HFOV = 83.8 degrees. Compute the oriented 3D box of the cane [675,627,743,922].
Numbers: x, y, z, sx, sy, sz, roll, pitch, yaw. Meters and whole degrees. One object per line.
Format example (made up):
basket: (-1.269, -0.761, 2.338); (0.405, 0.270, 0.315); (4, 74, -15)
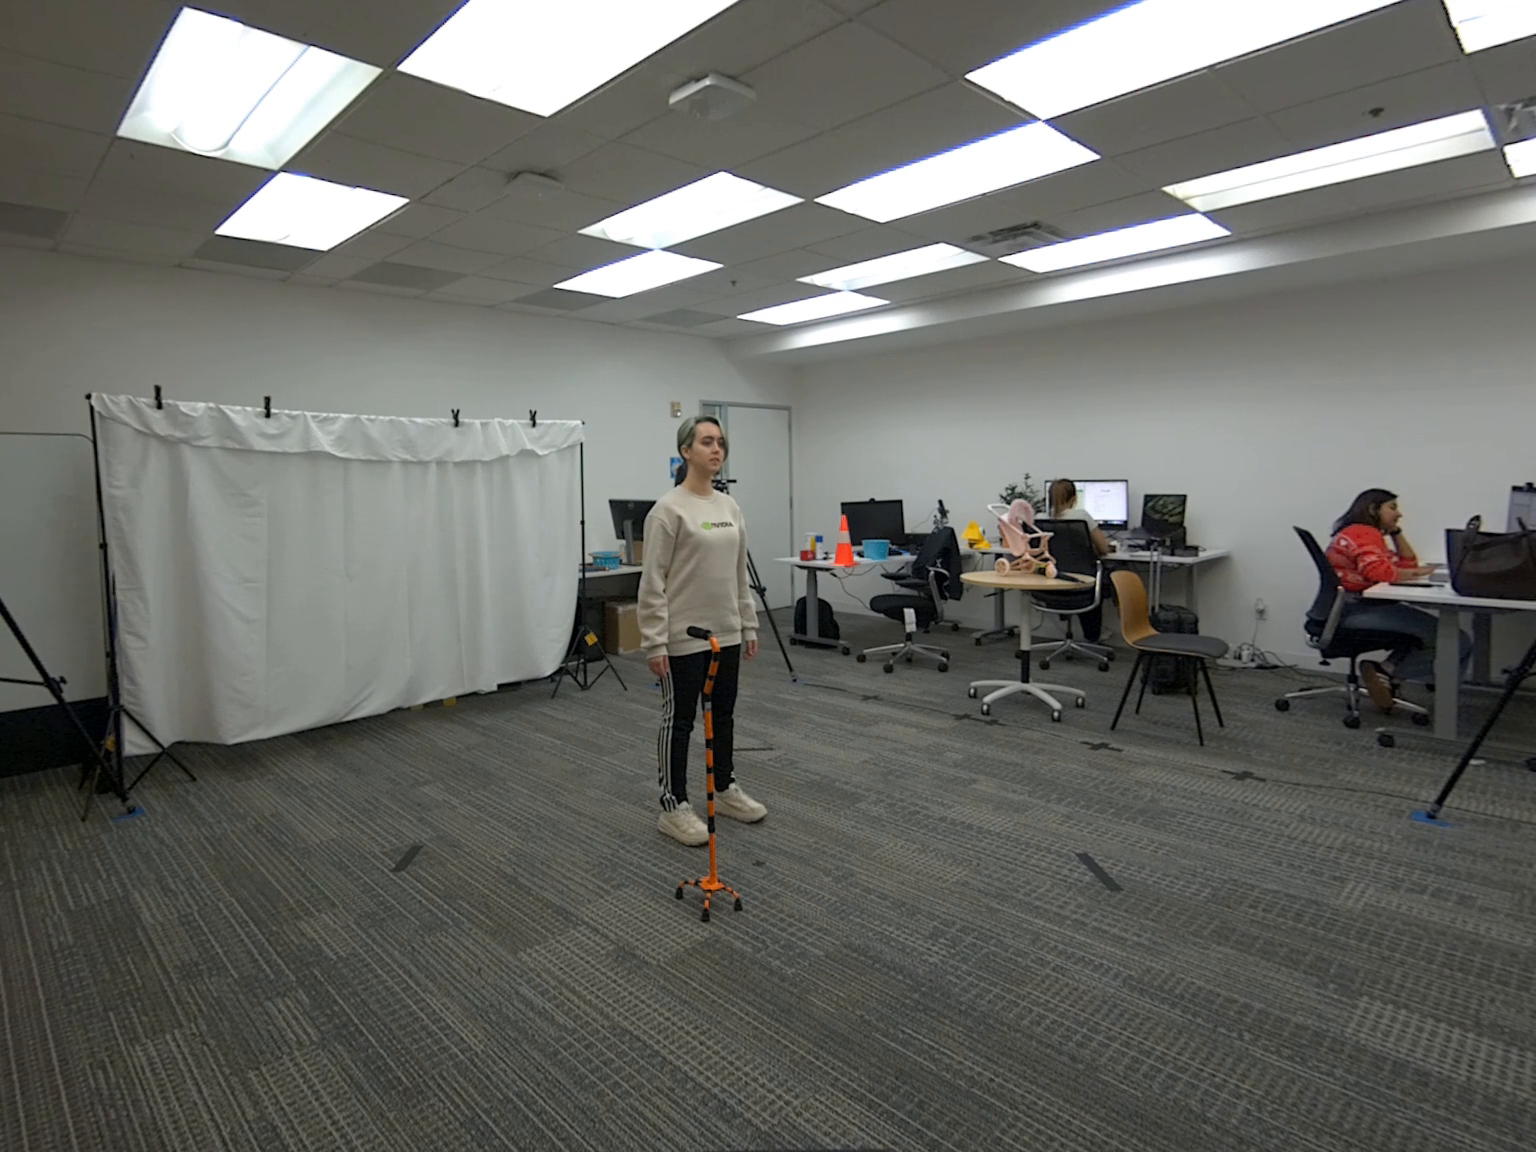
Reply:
cane: (-0.203, 0.632, 2.796); (0.148, 0.904, 0.212); (-4, 5, -33)
